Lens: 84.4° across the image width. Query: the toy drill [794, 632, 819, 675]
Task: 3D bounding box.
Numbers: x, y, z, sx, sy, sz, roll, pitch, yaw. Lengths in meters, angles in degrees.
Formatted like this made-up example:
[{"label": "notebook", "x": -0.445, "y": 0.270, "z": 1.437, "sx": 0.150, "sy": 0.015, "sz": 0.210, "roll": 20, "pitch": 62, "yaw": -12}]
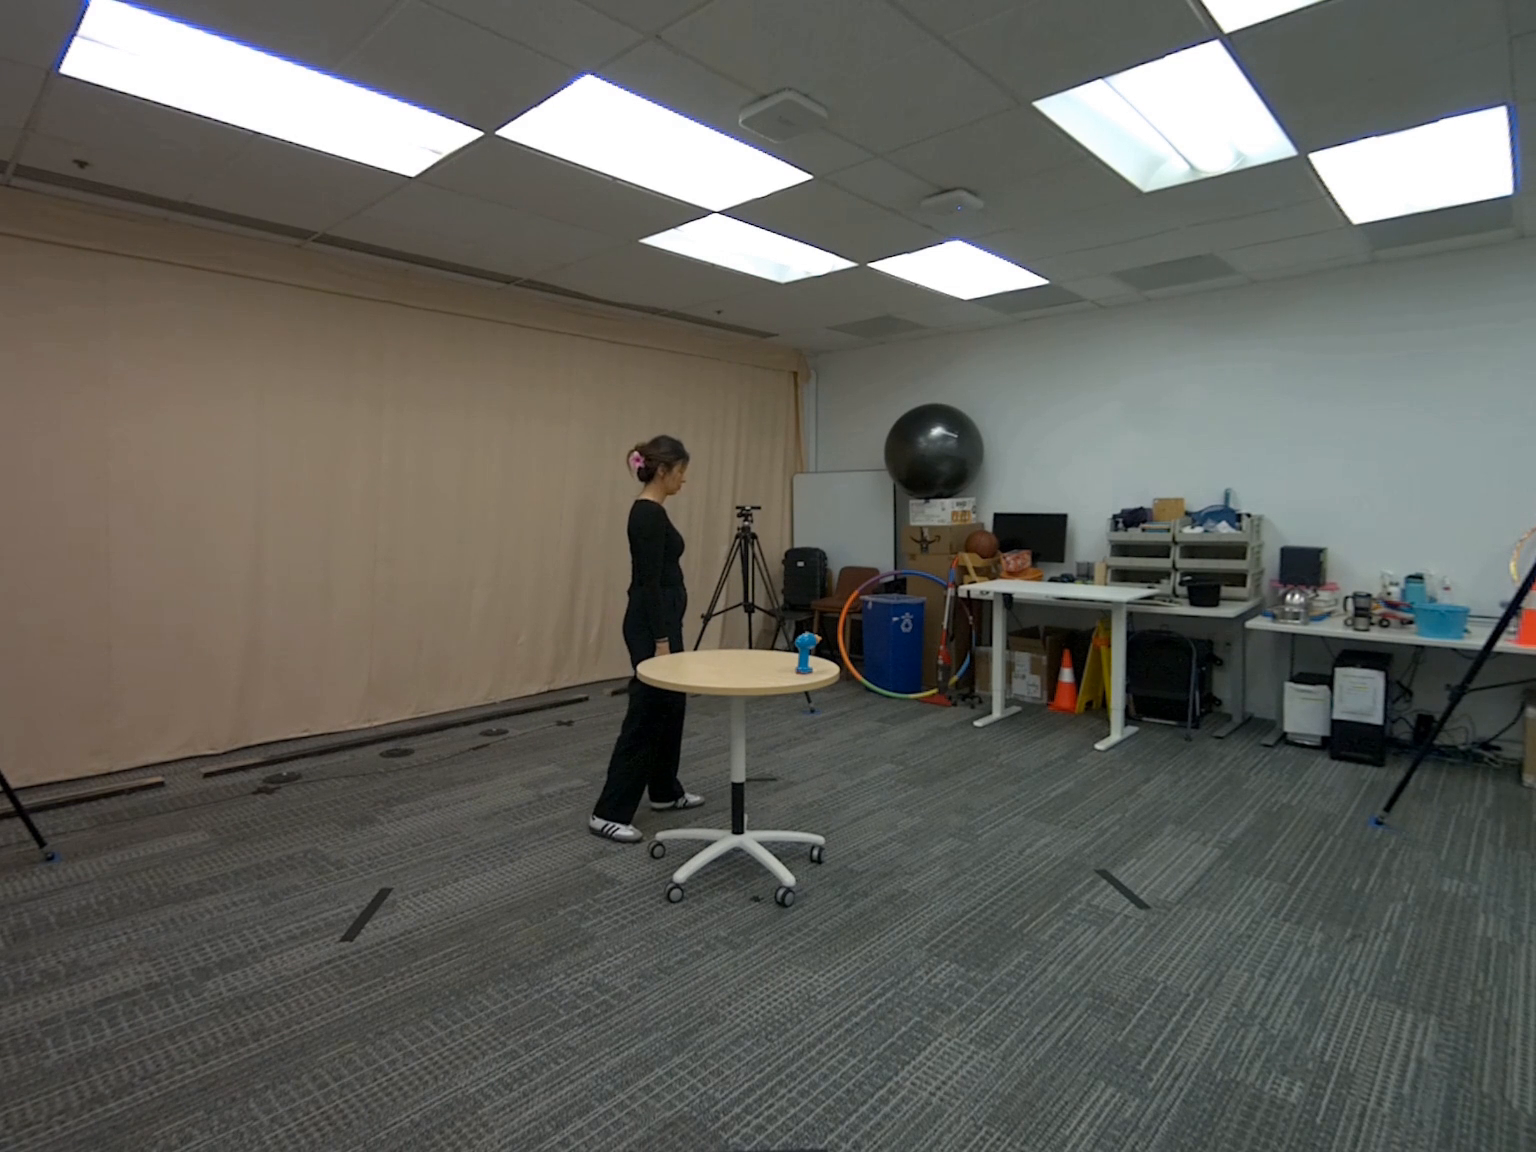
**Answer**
[{"label": "toy drill", "x": 0.157, "y": 0.281, "z": 3.100, "sx": 0.063, "sy": 0.146, "sz": 0.165, "roll": 2, "pitch": 3, "yaw": 33}]
